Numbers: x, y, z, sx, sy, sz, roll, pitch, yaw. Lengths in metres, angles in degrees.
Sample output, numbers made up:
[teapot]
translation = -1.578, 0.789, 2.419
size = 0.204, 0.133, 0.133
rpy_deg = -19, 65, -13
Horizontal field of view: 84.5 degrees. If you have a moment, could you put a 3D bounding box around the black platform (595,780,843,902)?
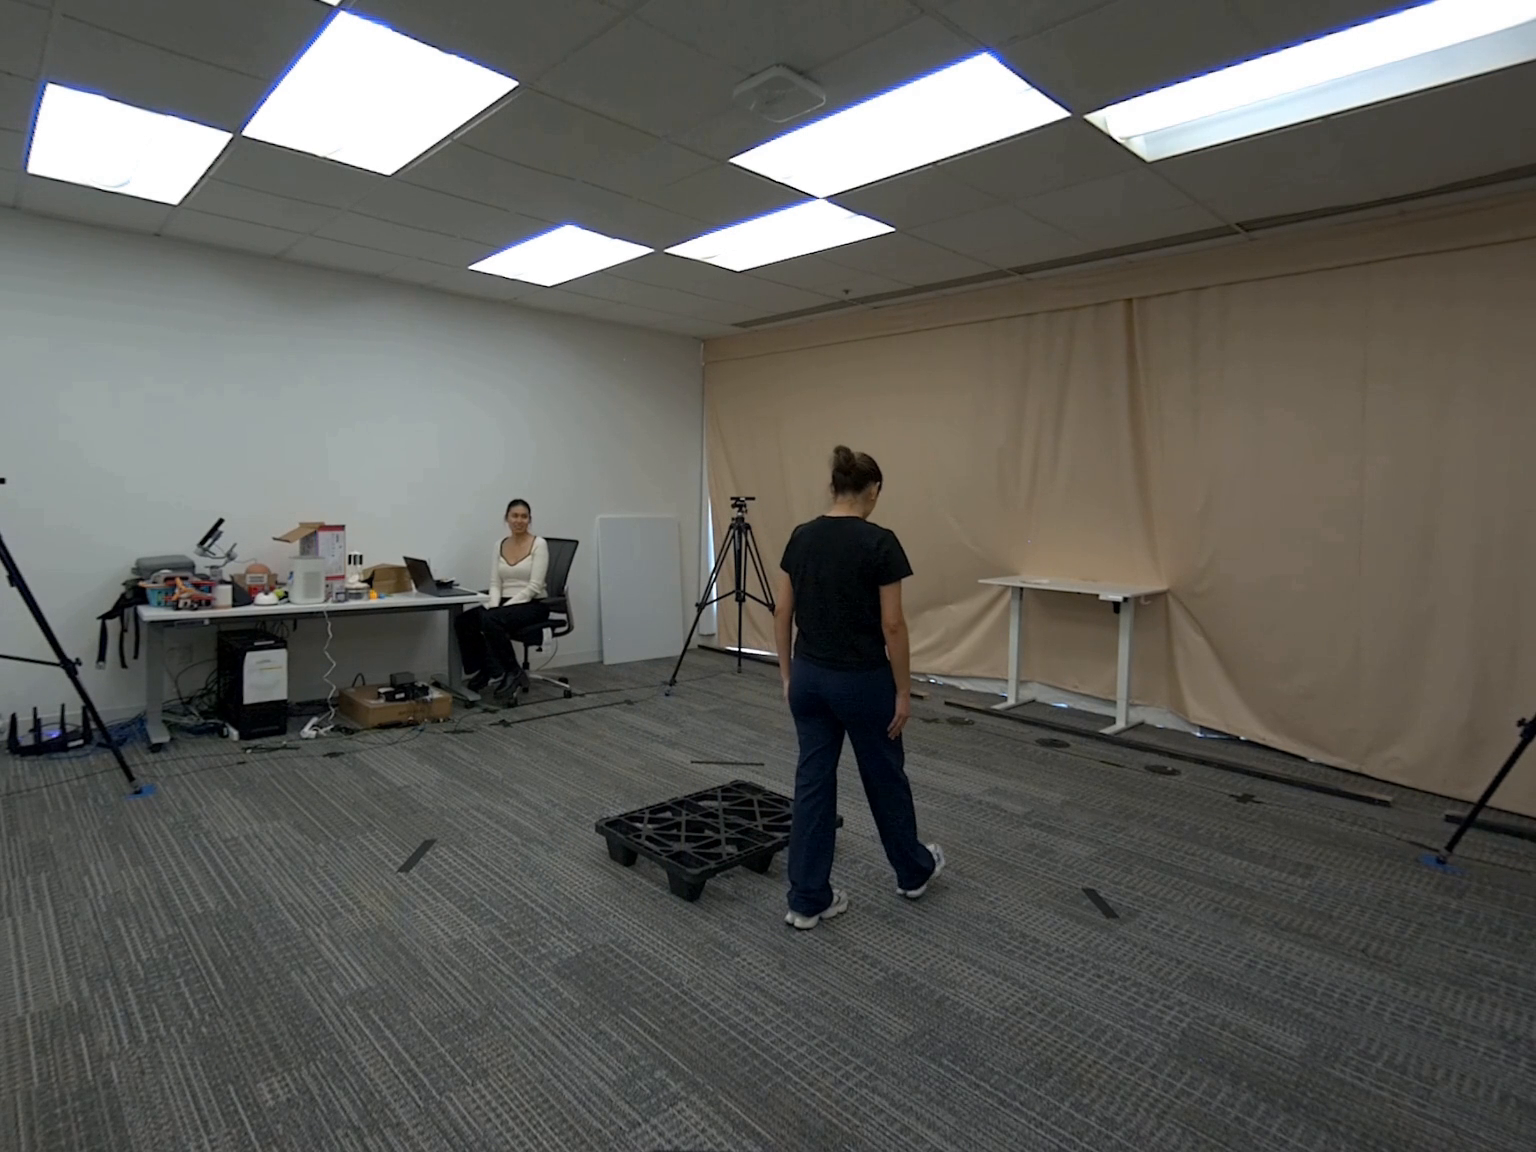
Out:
[black platform]
translation = -0.195, 1.024, 3.297
size = 0.787, 0.143, 0.620
rpy_deg = -3, 6, -45
